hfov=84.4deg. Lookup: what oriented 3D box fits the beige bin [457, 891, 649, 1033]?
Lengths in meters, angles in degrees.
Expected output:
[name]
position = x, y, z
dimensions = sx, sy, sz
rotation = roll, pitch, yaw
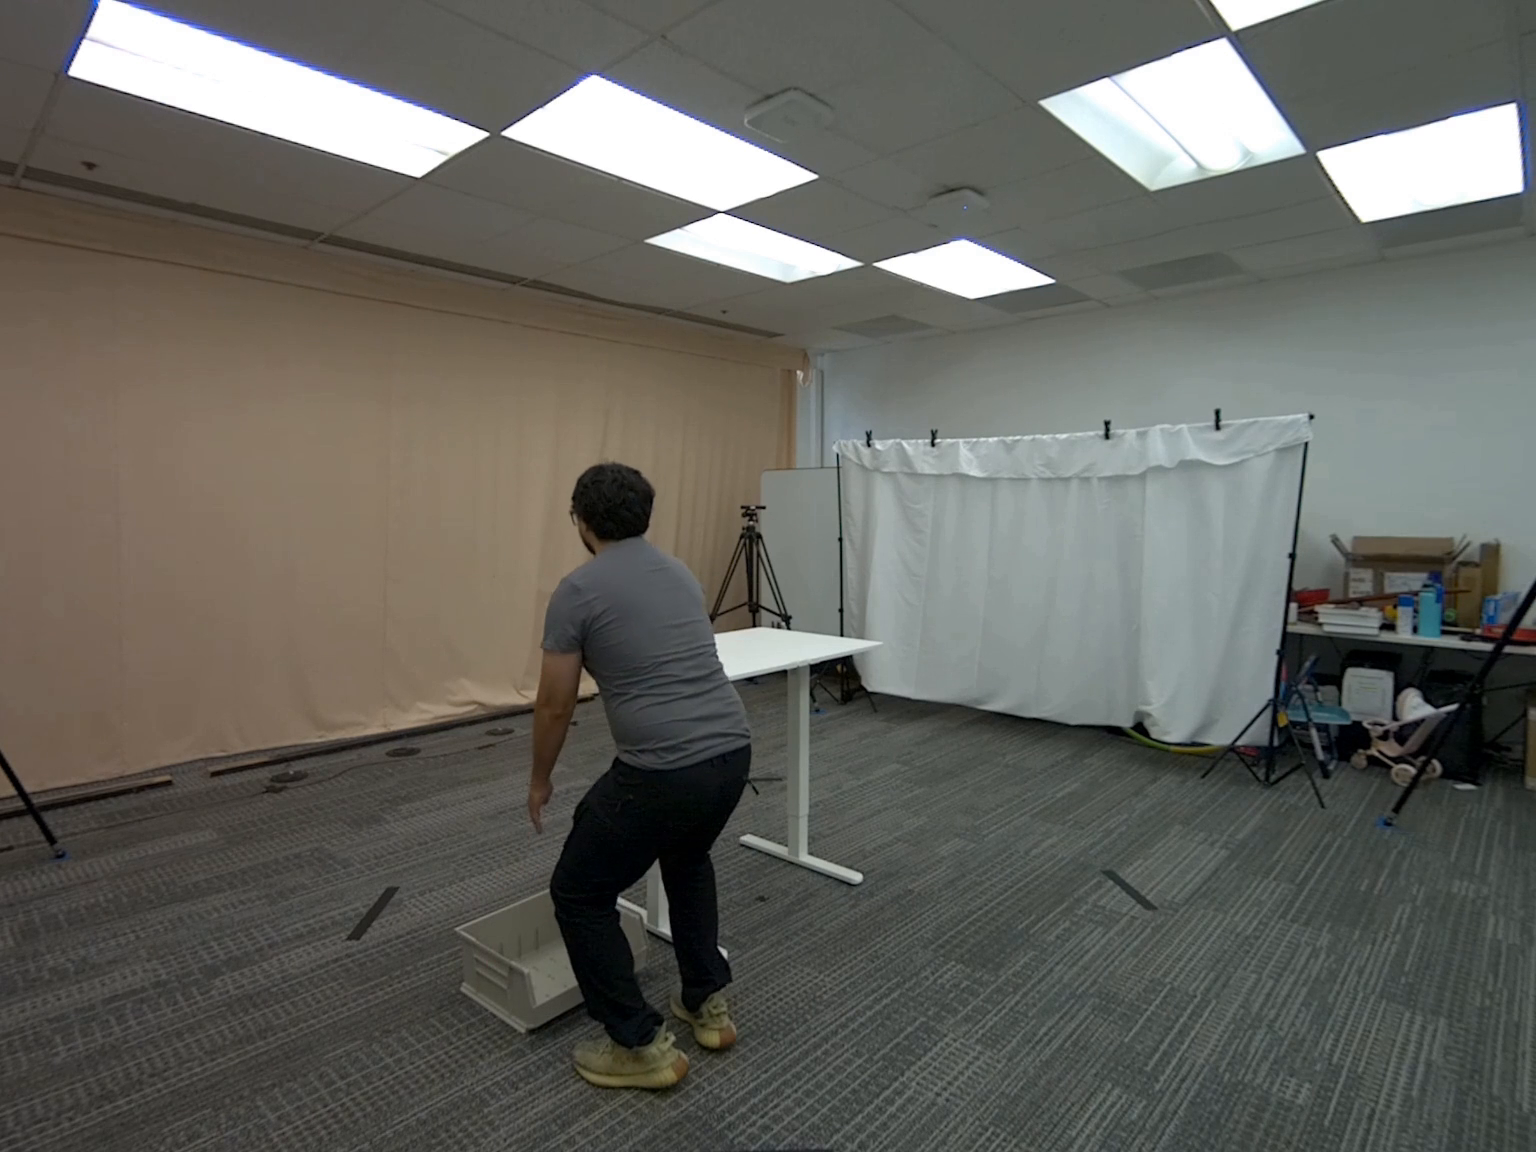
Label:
[beige bin]
position = -0.628, 1.107, 2.458
dimensions = 0.390, 0.188, 0.410
rotation = 3, 6, 40
